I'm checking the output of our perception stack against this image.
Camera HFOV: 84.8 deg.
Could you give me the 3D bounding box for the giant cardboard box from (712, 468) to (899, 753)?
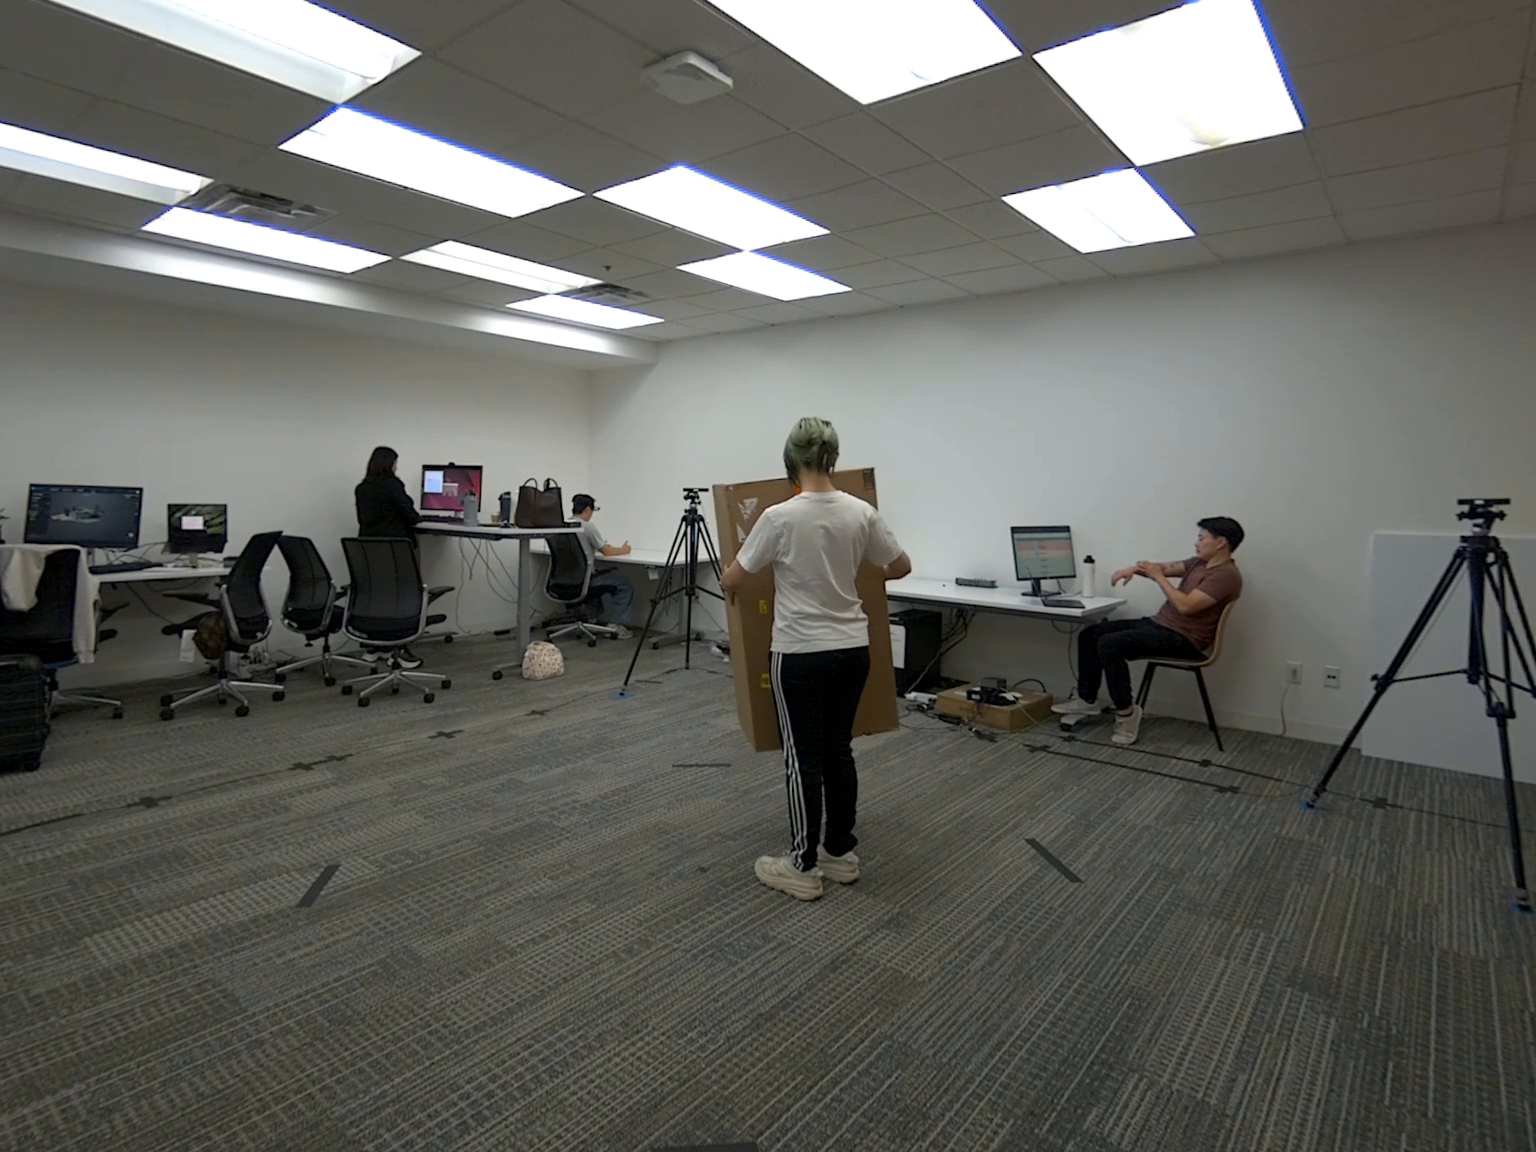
[{"bbox_3d":[0.127,0.105,3.416,0.573,1.021,0.431,-7,5,-8],"label":"giant cardboard box"}]
